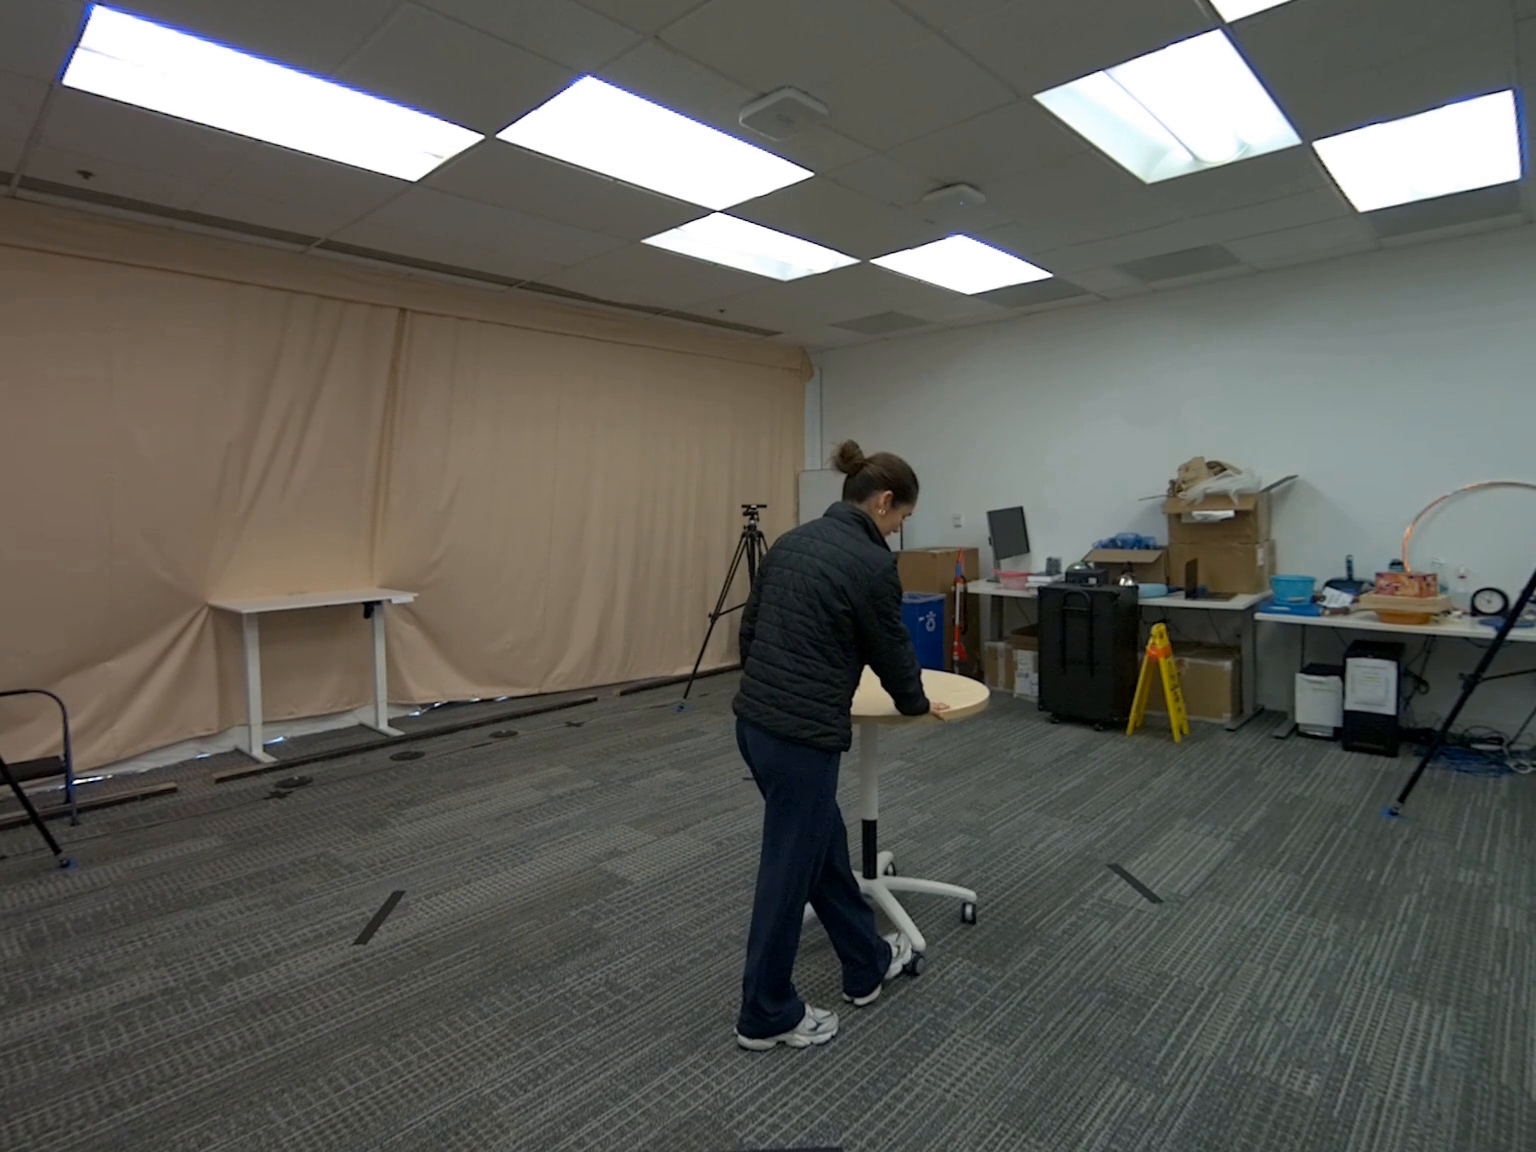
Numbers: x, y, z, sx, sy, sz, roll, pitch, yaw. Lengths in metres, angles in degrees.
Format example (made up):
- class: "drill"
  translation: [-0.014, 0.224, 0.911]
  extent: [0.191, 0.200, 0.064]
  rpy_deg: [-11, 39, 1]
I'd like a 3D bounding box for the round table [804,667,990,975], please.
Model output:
- class: "round table"
  translation: [0.354, 0.754, 2.795]
  extent: [0.784, 0.785, 0.787]
  rpy_deg: [-1, 3, -2]
